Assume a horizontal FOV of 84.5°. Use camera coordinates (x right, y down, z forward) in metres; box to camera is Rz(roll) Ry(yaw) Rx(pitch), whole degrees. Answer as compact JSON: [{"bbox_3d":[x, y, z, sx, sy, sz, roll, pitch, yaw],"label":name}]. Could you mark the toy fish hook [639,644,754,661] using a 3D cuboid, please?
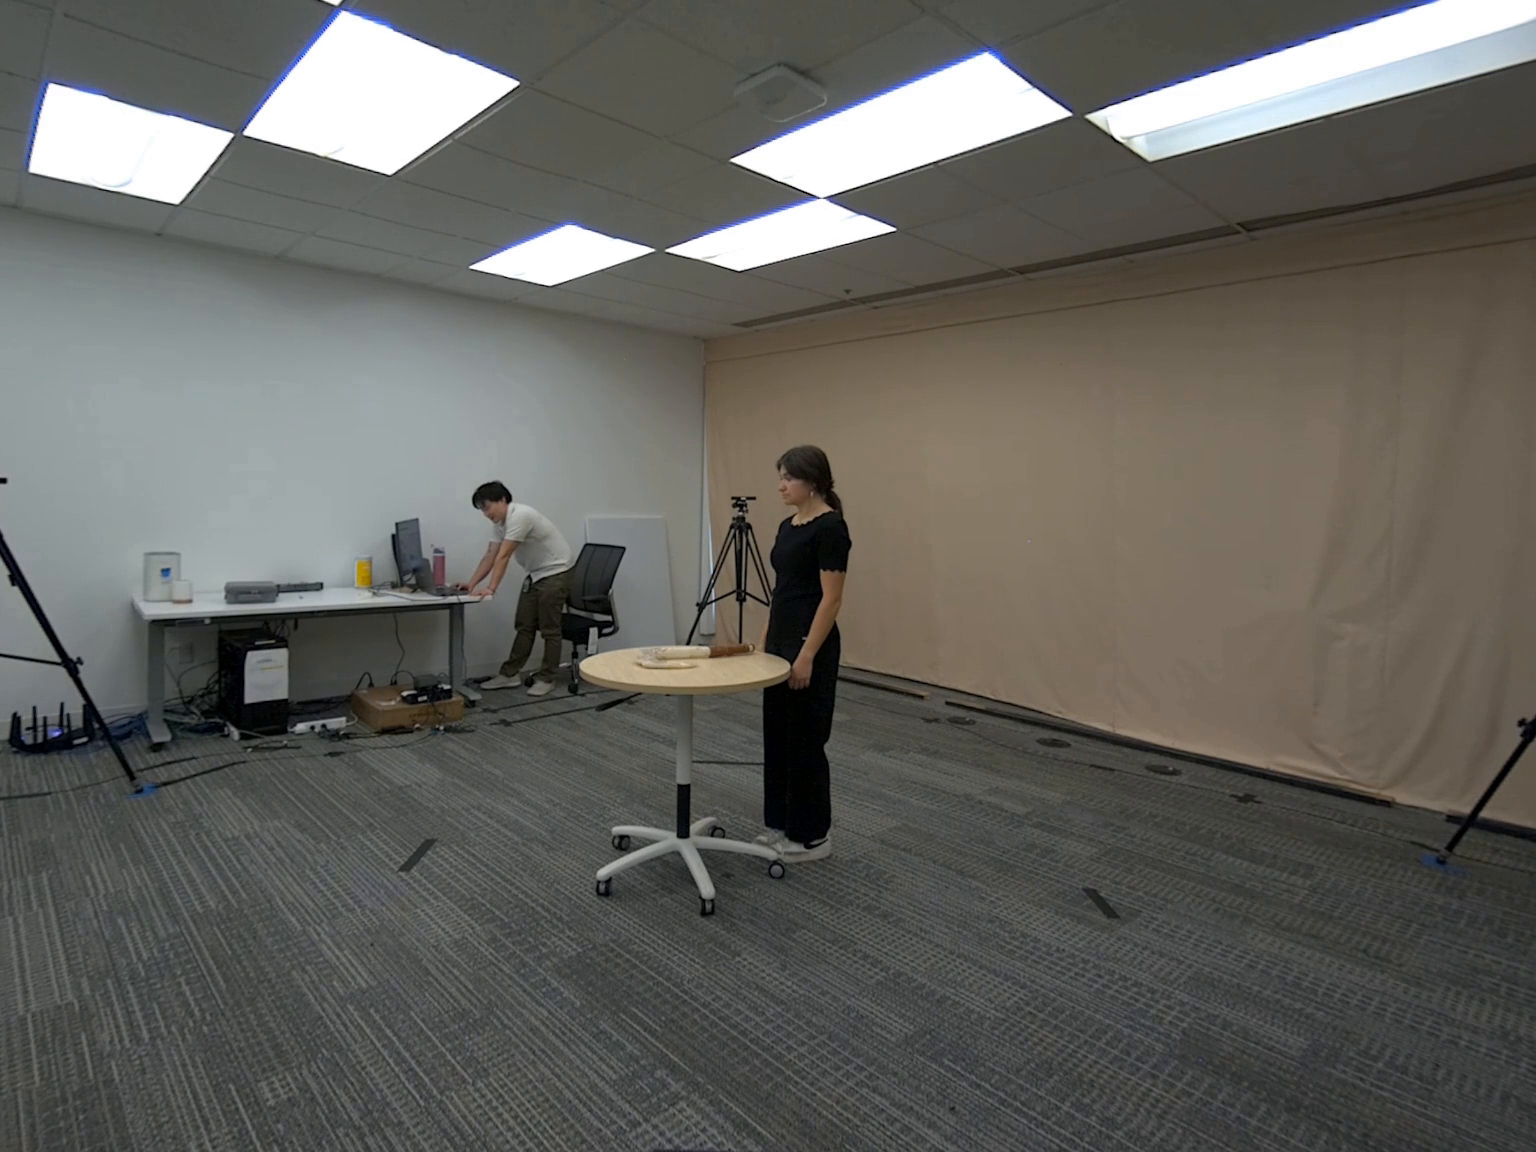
[{"bbox_3d":[-0.255,0.305,3.132,0.497,0.048,0.231,-3,13,-30],"label":"toy fish hook"}]
